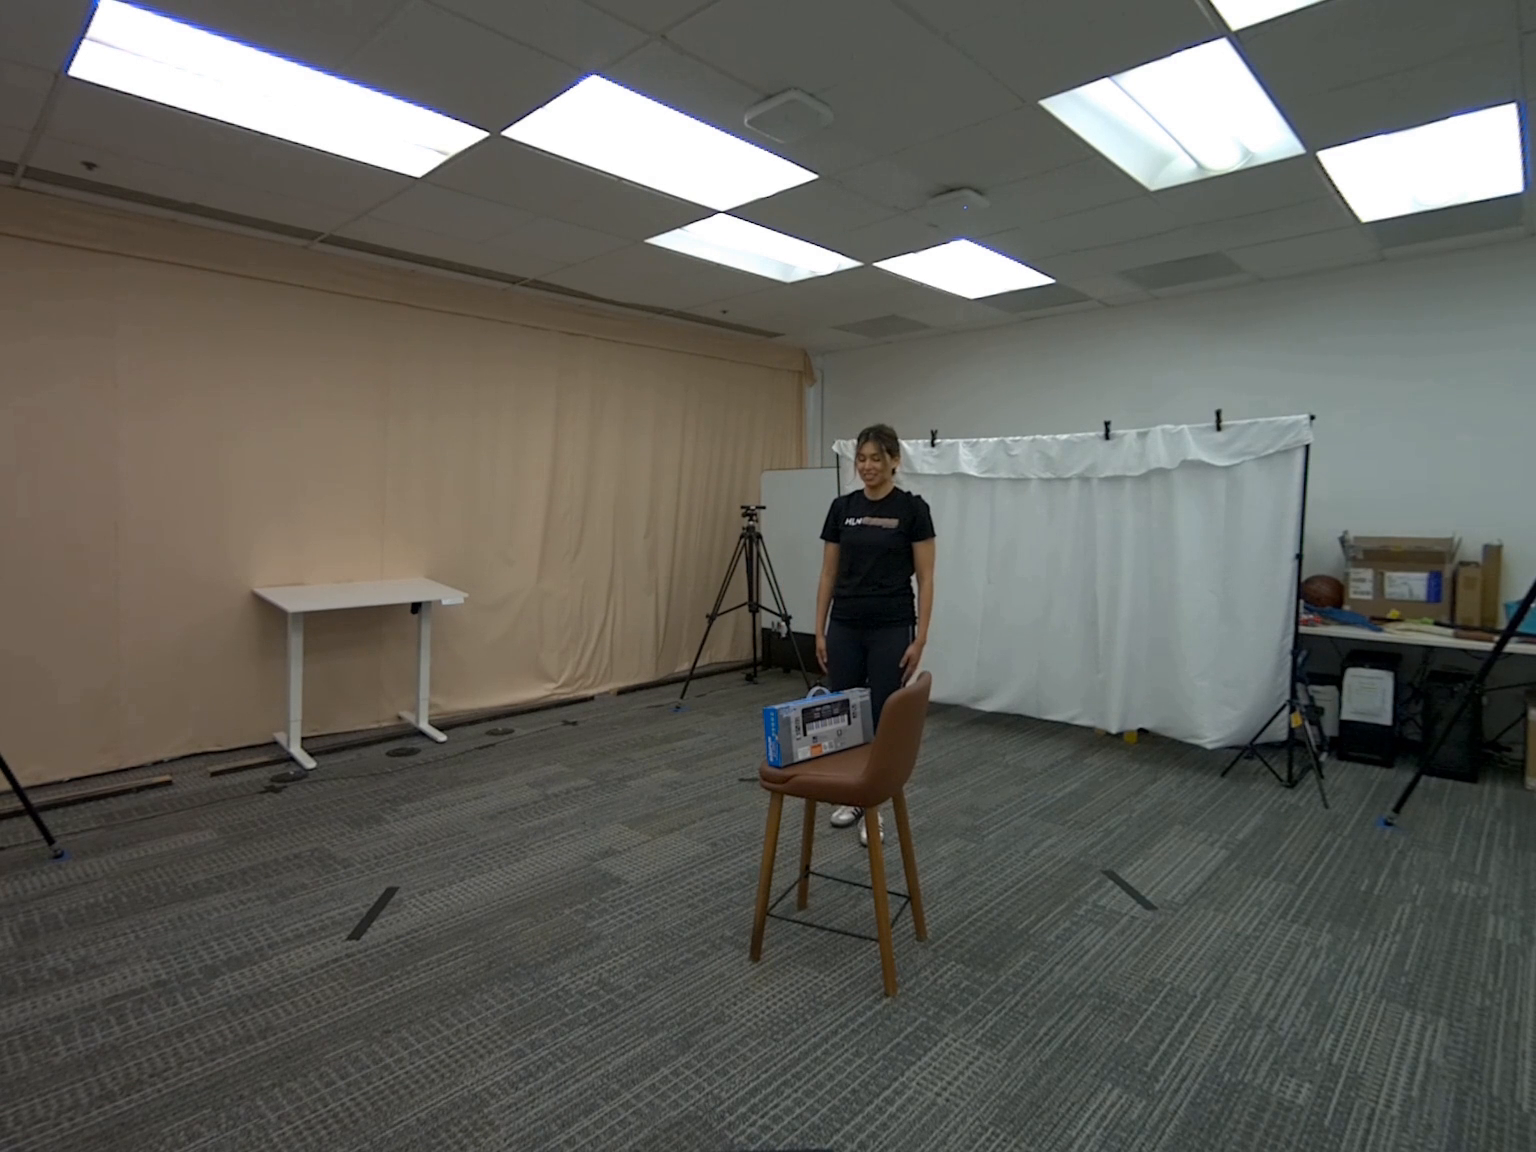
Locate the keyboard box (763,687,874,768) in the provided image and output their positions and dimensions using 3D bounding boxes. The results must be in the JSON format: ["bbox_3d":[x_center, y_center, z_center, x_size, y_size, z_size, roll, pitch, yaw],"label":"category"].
[{"bbox_3d":[0.173,0.471,2.659,0.423,0.176,0.061,-3,-2,-43],"label":"keyboard box"}]
